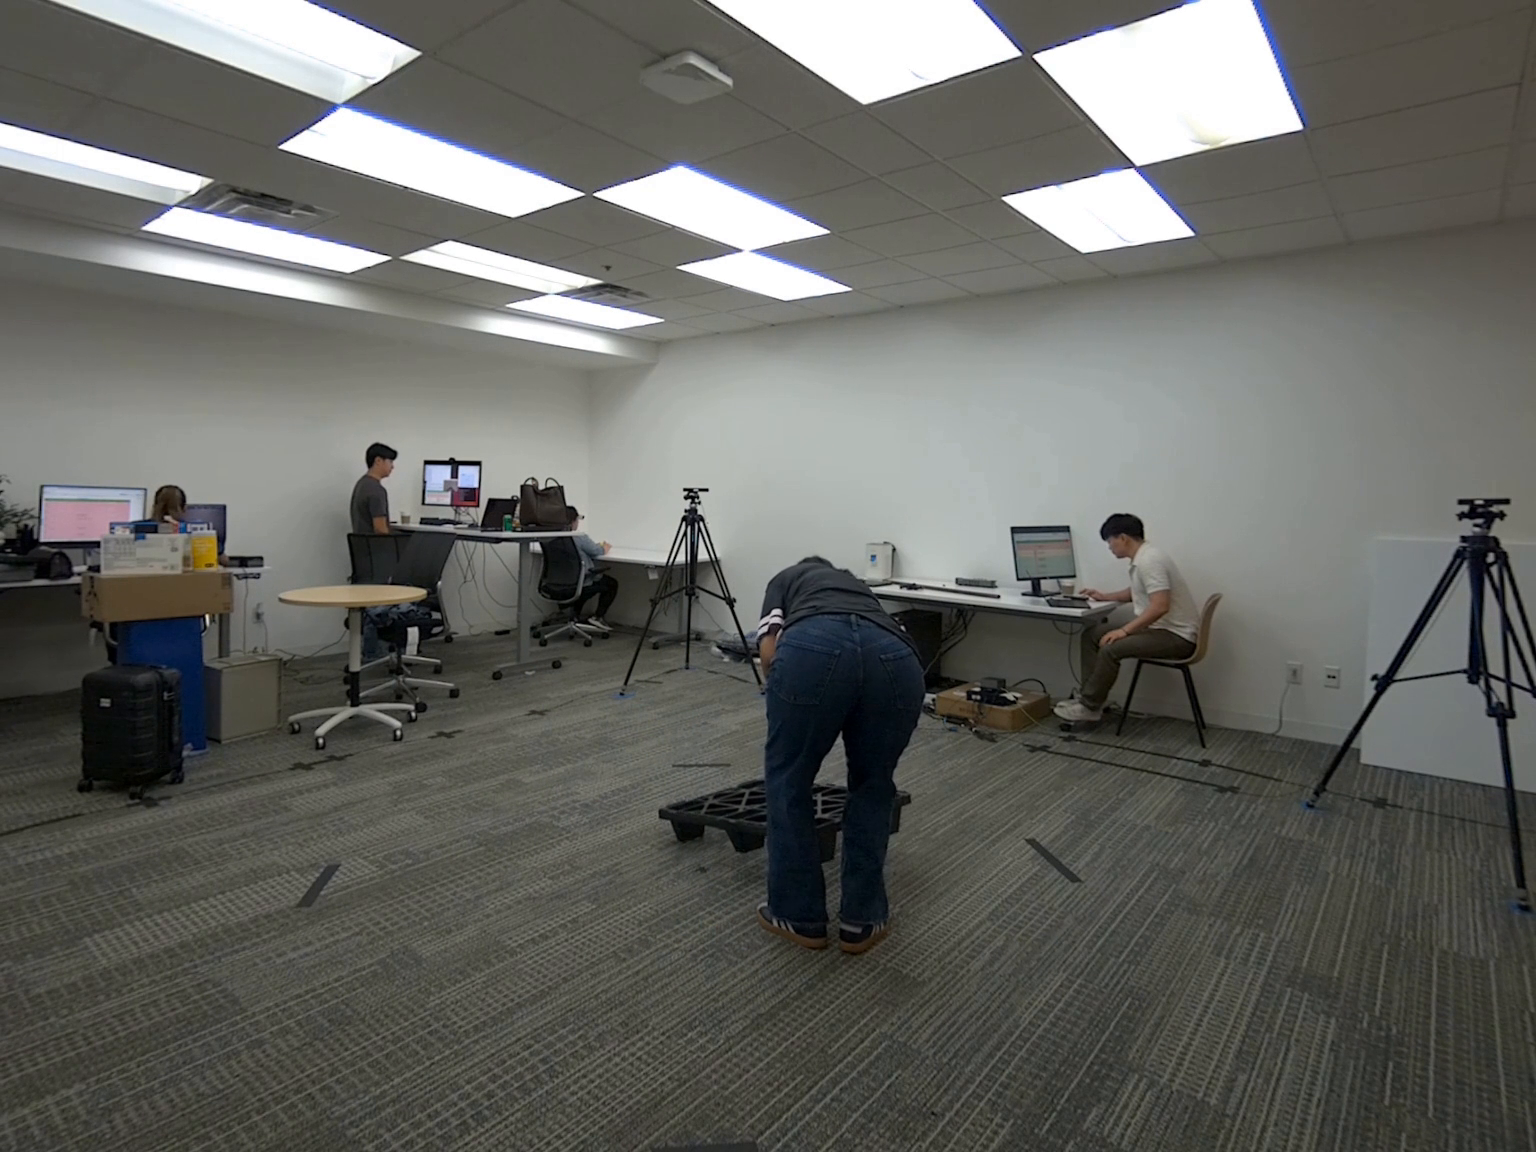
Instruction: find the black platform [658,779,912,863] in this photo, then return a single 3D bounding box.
[{"bbox_3d":[0.049,0.932,3.267,0.586,0.144,0.827,-3,-3,-45],"label":"black platform"}]
